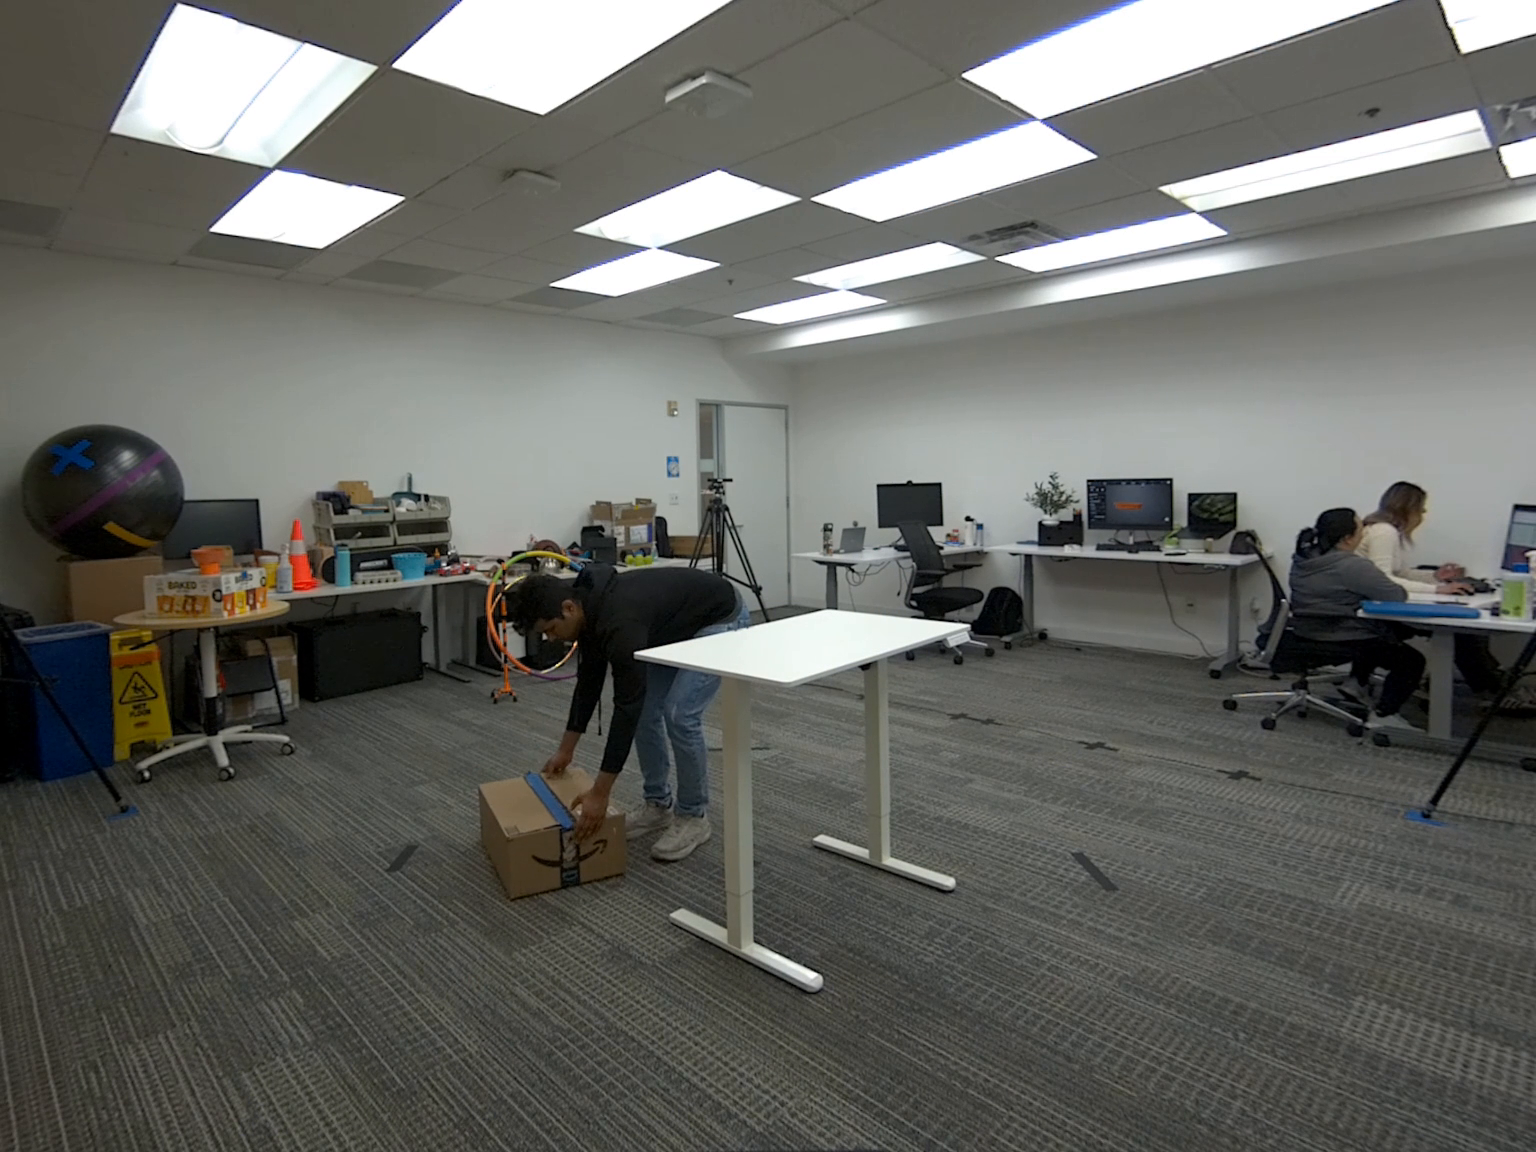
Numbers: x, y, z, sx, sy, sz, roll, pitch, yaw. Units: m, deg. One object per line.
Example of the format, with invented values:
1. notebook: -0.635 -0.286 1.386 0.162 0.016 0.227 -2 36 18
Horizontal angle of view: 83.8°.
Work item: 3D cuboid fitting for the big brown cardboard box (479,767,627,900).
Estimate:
1. big brown cardboard box: -0.812 0.924 3.180 0.409 0.232 0.604 -6 7 -27
